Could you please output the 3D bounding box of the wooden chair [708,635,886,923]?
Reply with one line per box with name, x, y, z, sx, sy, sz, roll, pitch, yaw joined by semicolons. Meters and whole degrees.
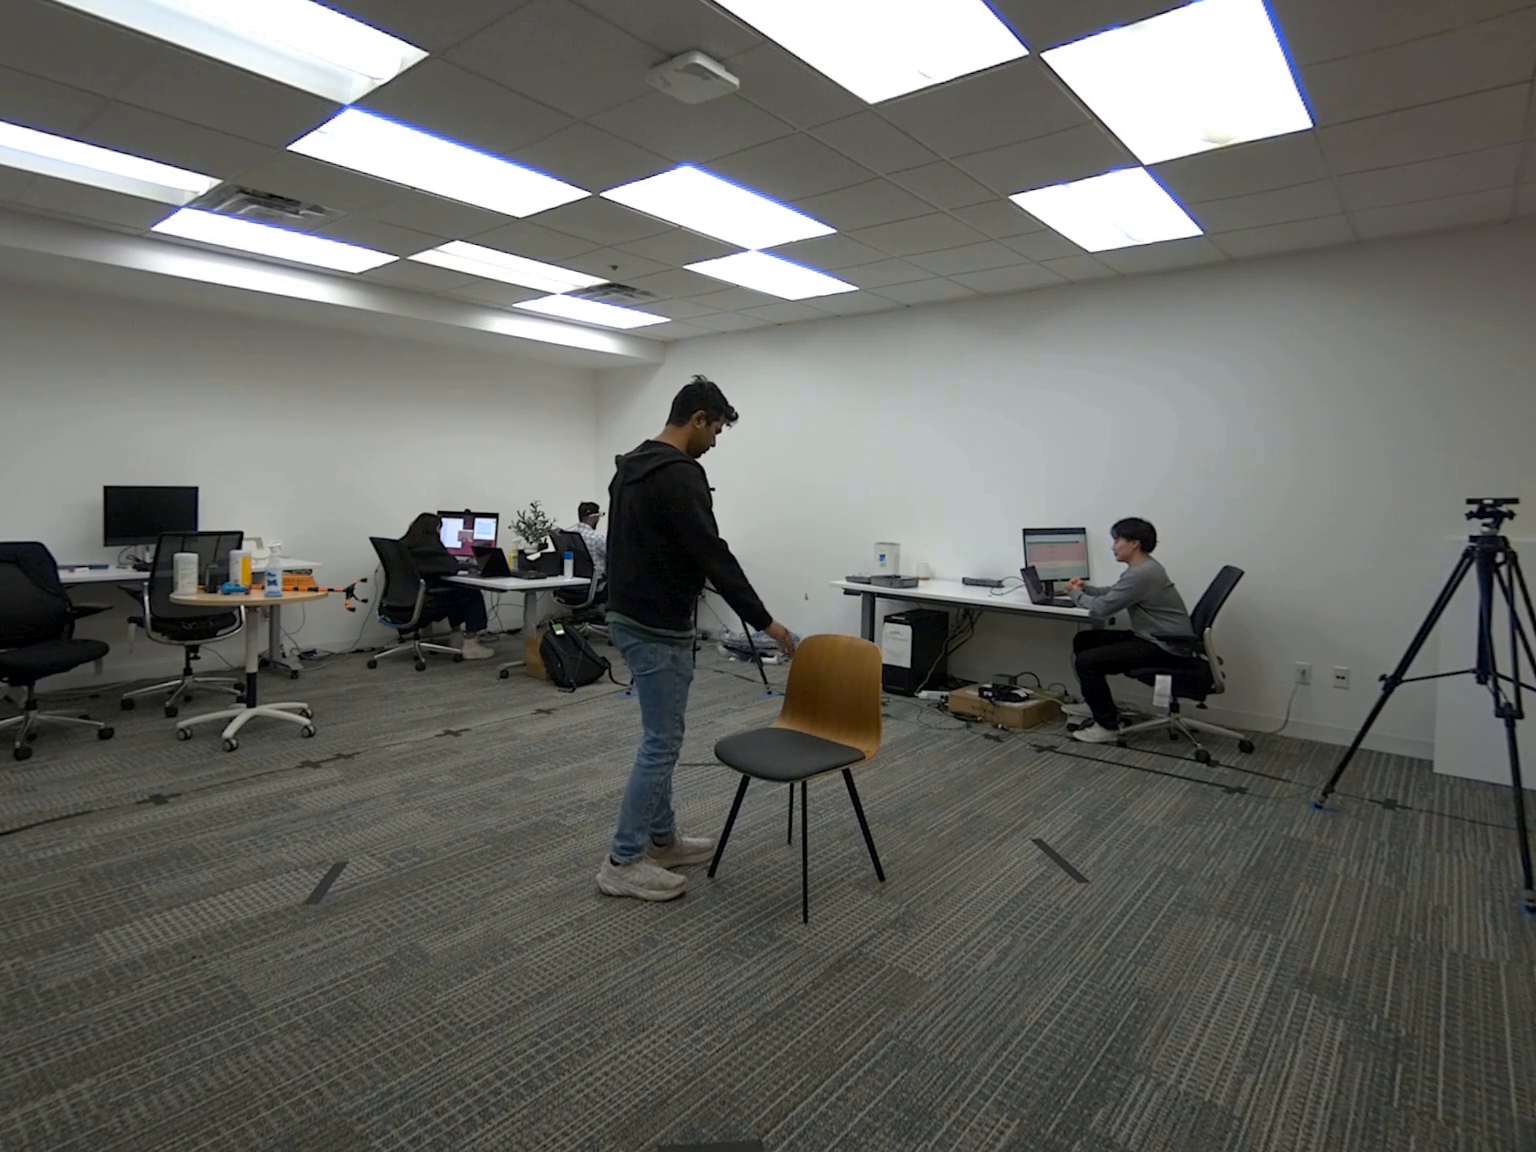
wooden chair;0.099;0.657;3.006;0.494;0.877;0.506;5;1;43
